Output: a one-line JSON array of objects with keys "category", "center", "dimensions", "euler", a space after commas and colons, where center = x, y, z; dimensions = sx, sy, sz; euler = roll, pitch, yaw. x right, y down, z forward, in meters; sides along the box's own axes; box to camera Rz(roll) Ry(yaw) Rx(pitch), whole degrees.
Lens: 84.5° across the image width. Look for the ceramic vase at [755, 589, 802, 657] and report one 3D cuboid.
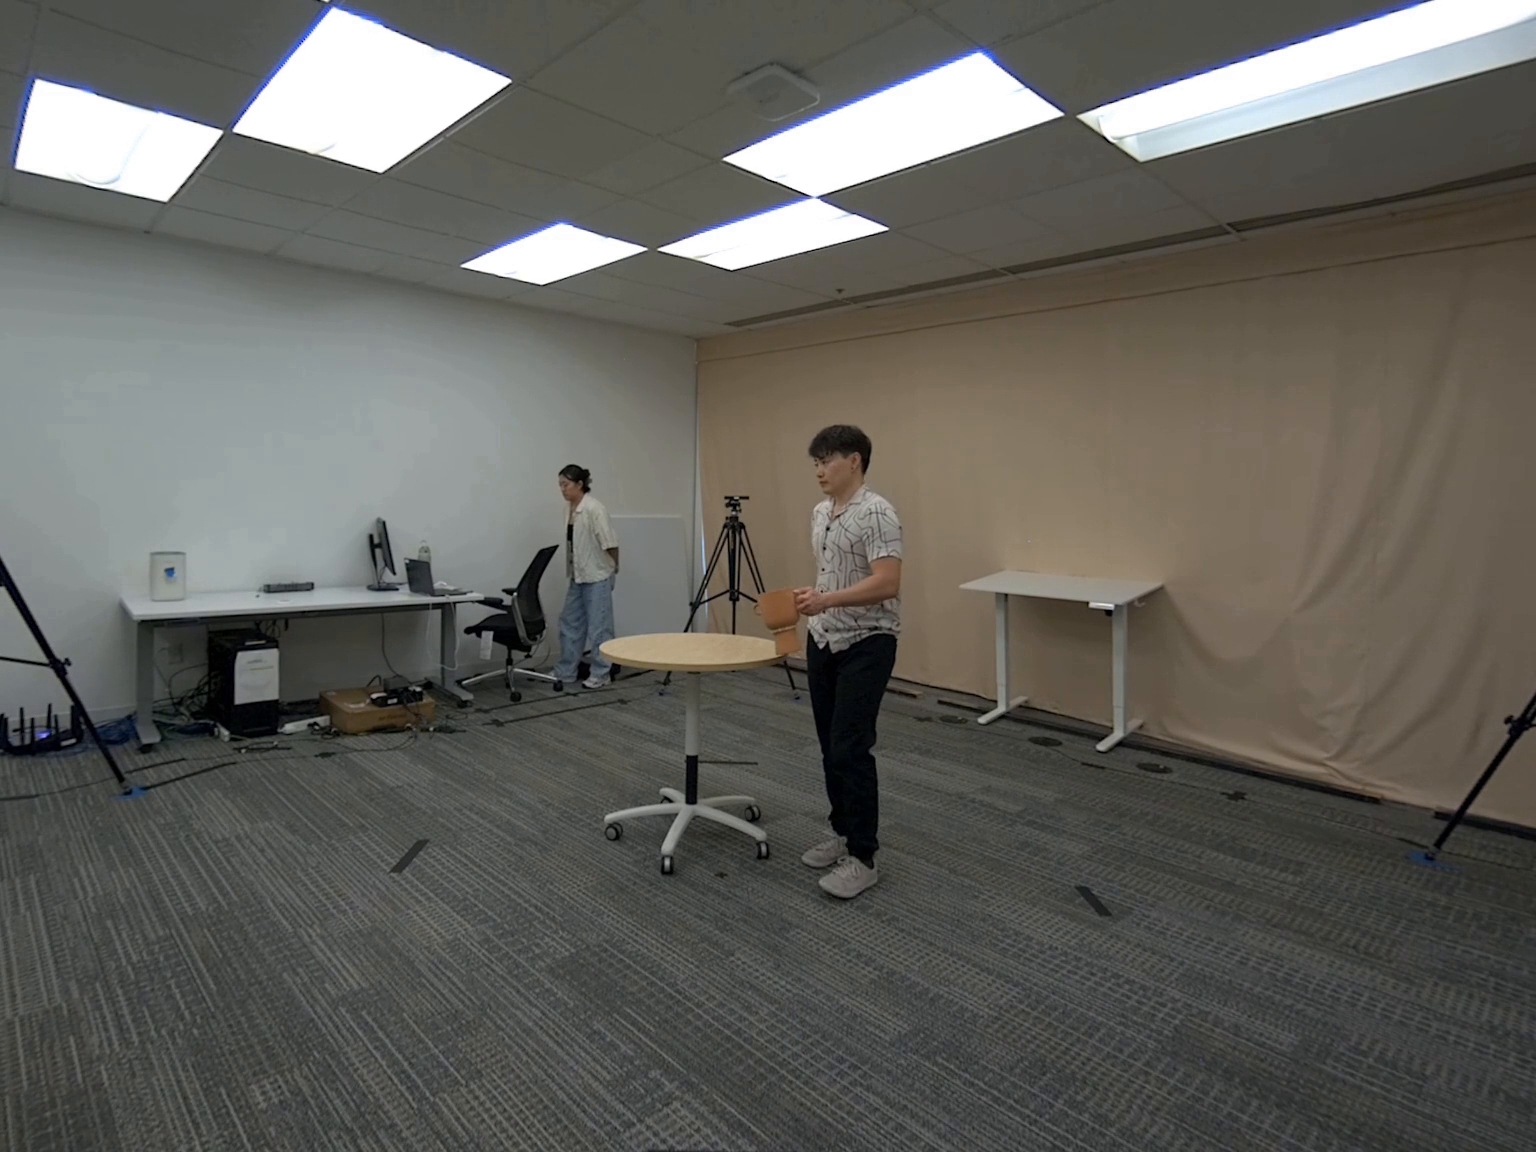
[{"category": "ceramic vase", "center": [0.044, 0.158, 2.941], "dimensions": [0.132, 0.220, 0.161], "euler": [-9, -3, -31]}]
